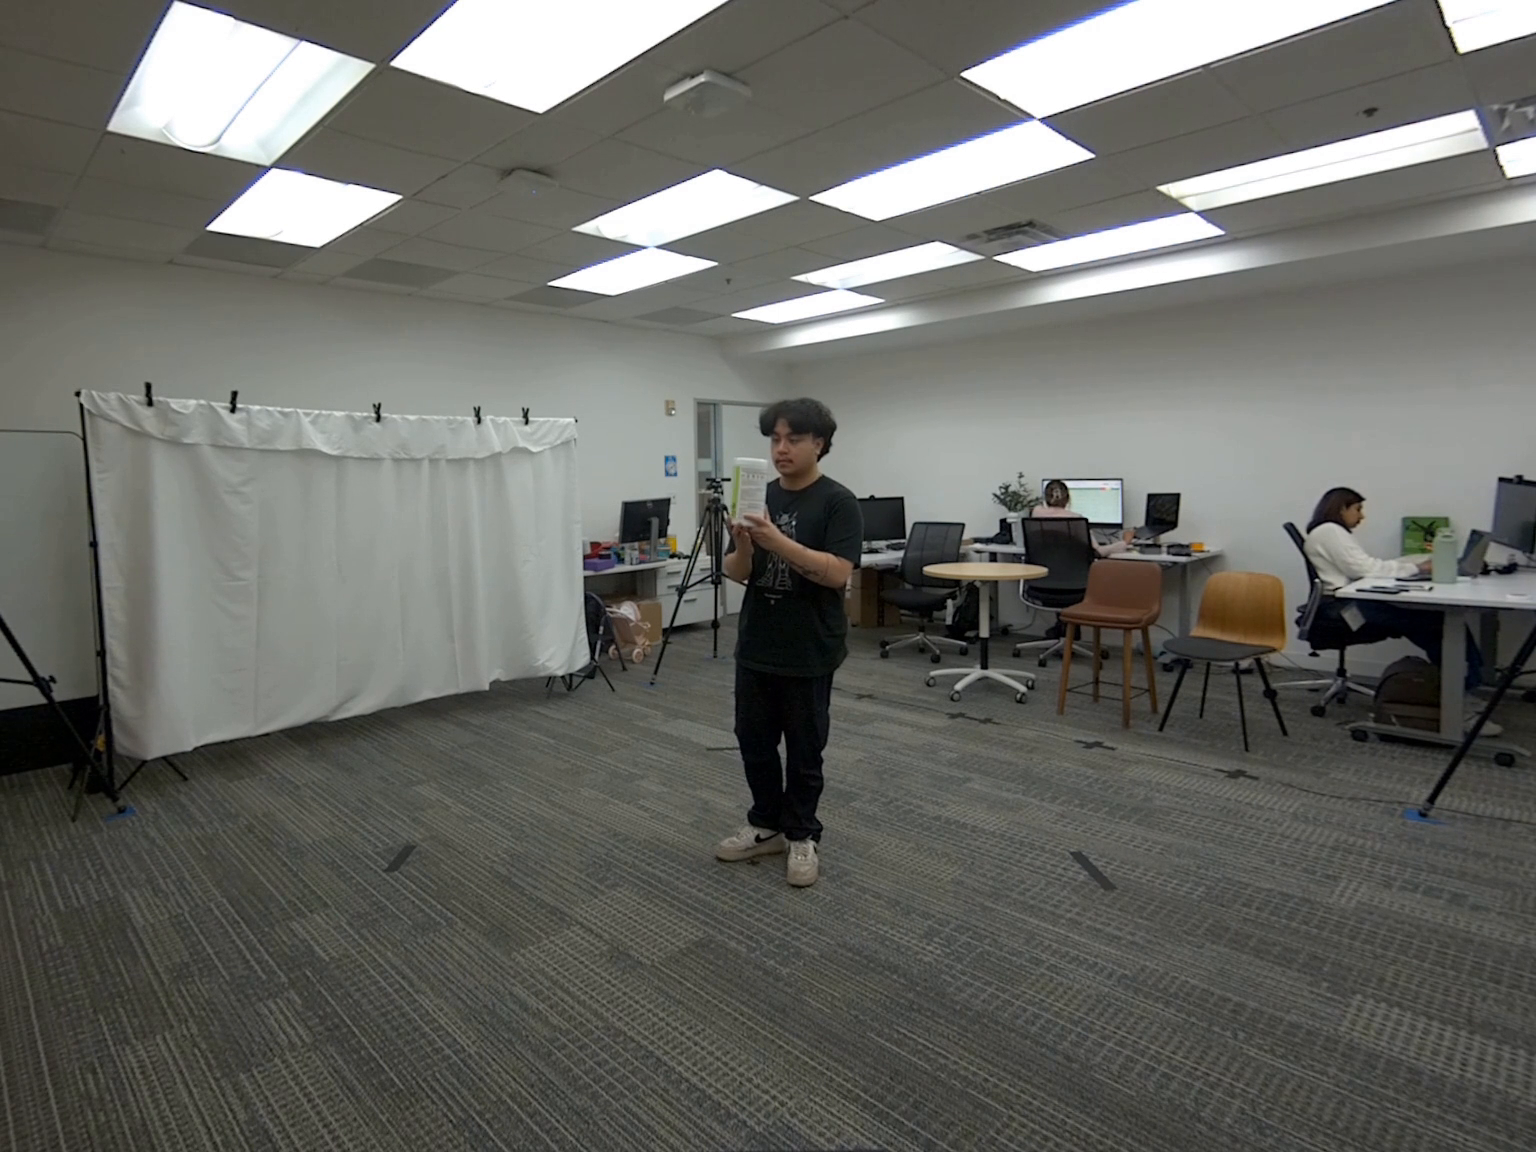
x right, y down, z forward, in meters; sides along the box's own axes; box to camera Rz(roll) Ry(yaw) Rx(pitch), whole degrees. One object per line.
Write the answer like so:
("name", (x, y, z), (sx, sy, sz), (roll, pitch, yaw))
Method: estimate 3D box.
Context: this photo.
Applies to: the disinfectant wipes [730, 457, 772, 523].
("disinfectant wipes", (-0.078, -0.262, 2.727), (0.117, 0.217, 0.118), (5, 4, -2))
